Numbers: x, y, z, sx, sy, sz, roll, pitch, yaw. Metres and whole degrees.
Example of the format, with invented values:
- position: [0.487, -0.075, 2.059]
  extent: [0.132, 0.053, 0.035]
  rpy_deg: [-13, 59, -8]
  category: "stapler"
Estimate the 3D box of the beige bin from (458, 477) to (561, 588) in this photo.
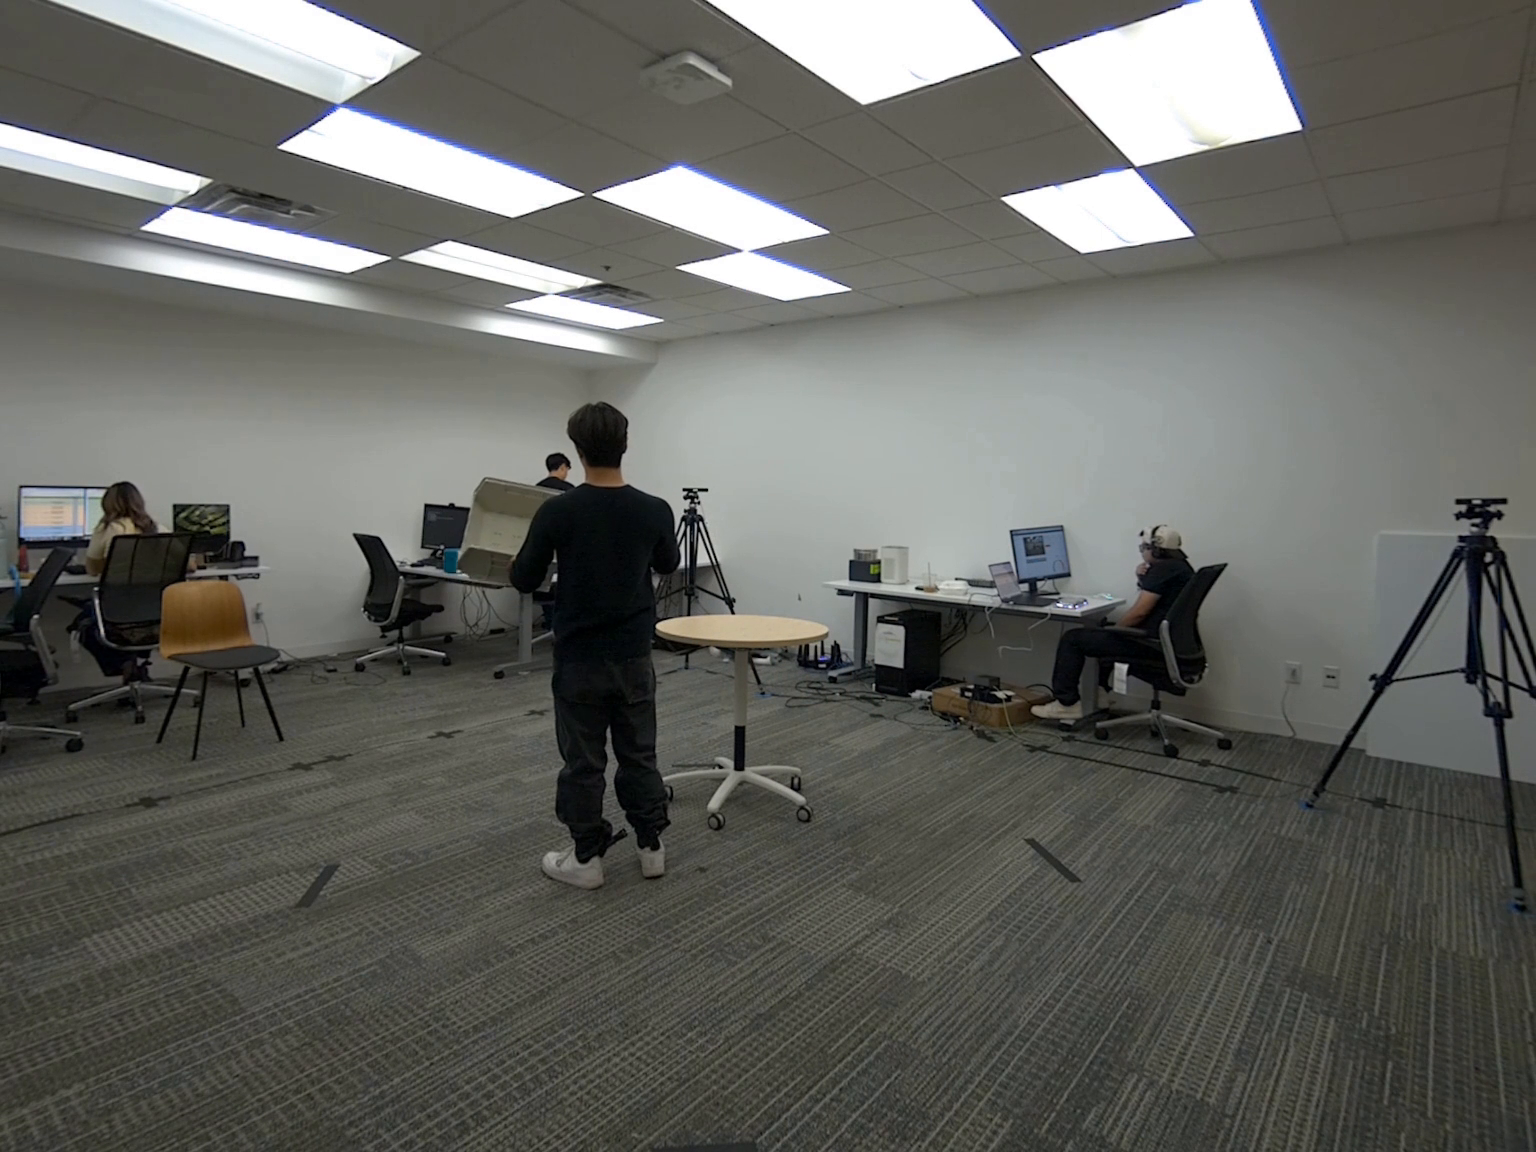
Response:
- position: [-1.045, -0.174, 3.439]
  extent: [0.370, 0.186, 0.436]
  rpy_deg: [10, 42, -17]
  category: "beige bin"
